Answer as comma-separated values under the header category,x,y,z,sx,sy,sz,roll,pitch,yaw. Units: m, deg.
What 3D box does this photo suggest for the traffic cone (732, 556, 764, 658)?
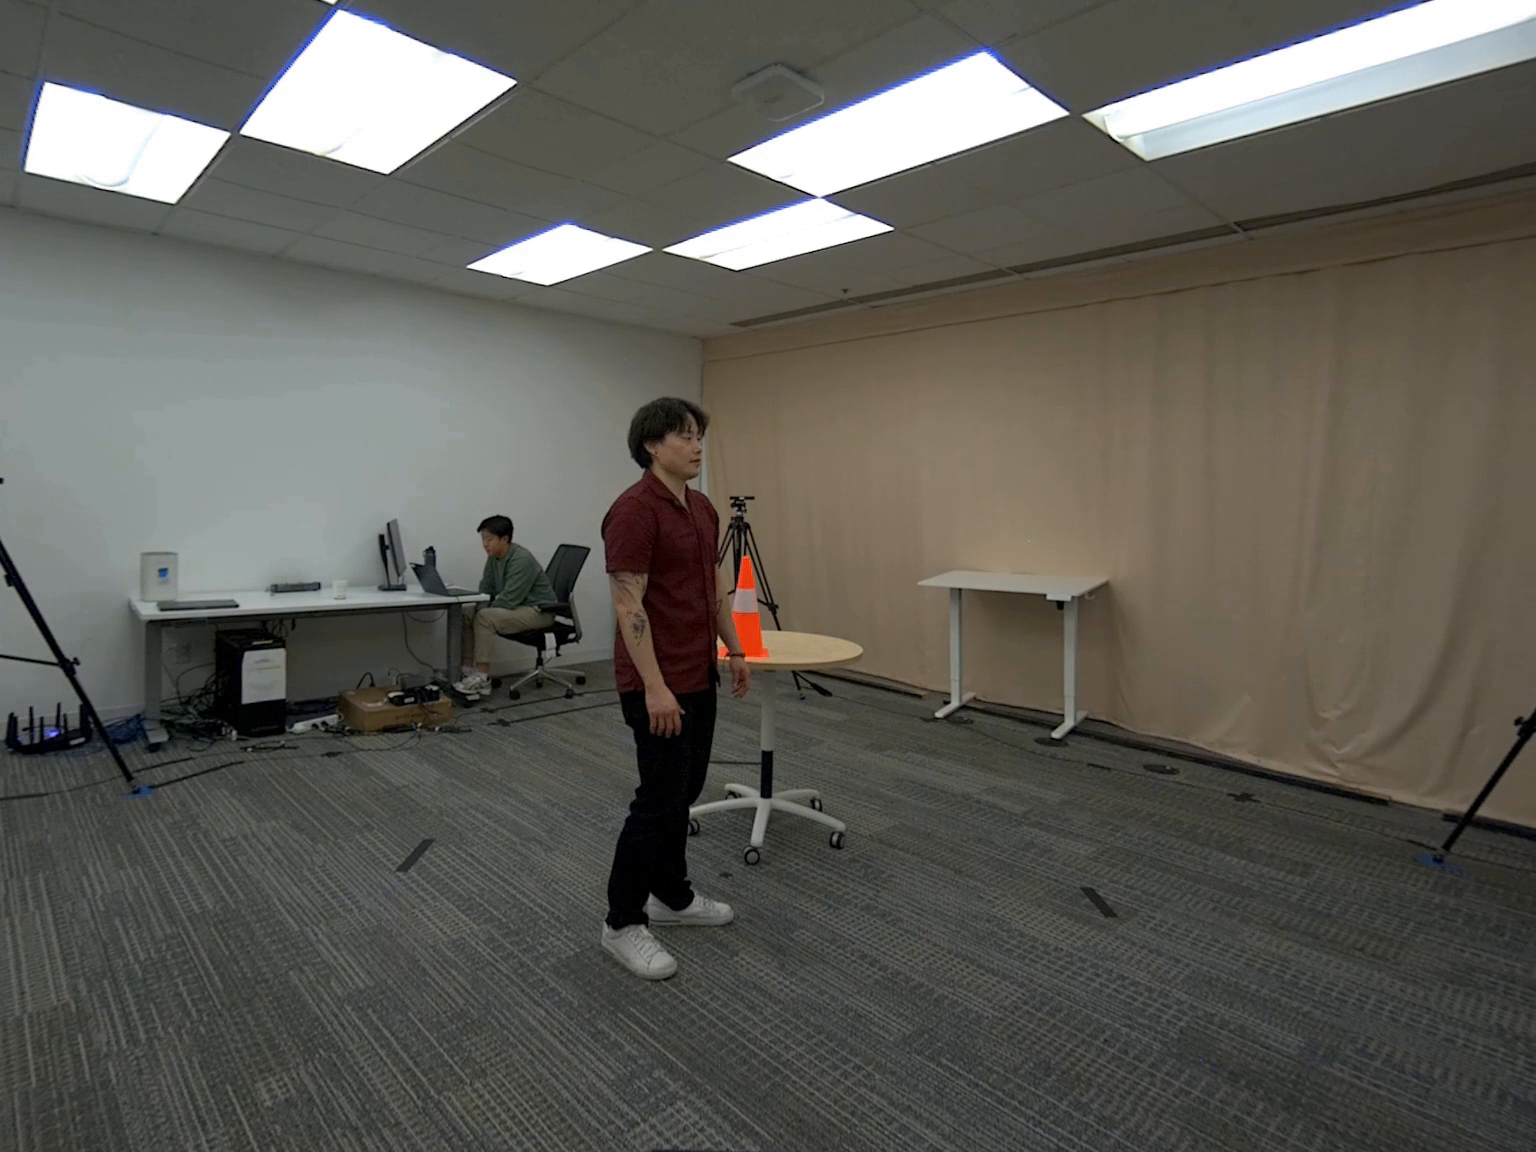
category,x,y,z,sx,sy,sz,roll,pitch,yaw
traffic cone,-0.100,0.113,3.303,0.202,0.381,0.208,-1,9,-10
